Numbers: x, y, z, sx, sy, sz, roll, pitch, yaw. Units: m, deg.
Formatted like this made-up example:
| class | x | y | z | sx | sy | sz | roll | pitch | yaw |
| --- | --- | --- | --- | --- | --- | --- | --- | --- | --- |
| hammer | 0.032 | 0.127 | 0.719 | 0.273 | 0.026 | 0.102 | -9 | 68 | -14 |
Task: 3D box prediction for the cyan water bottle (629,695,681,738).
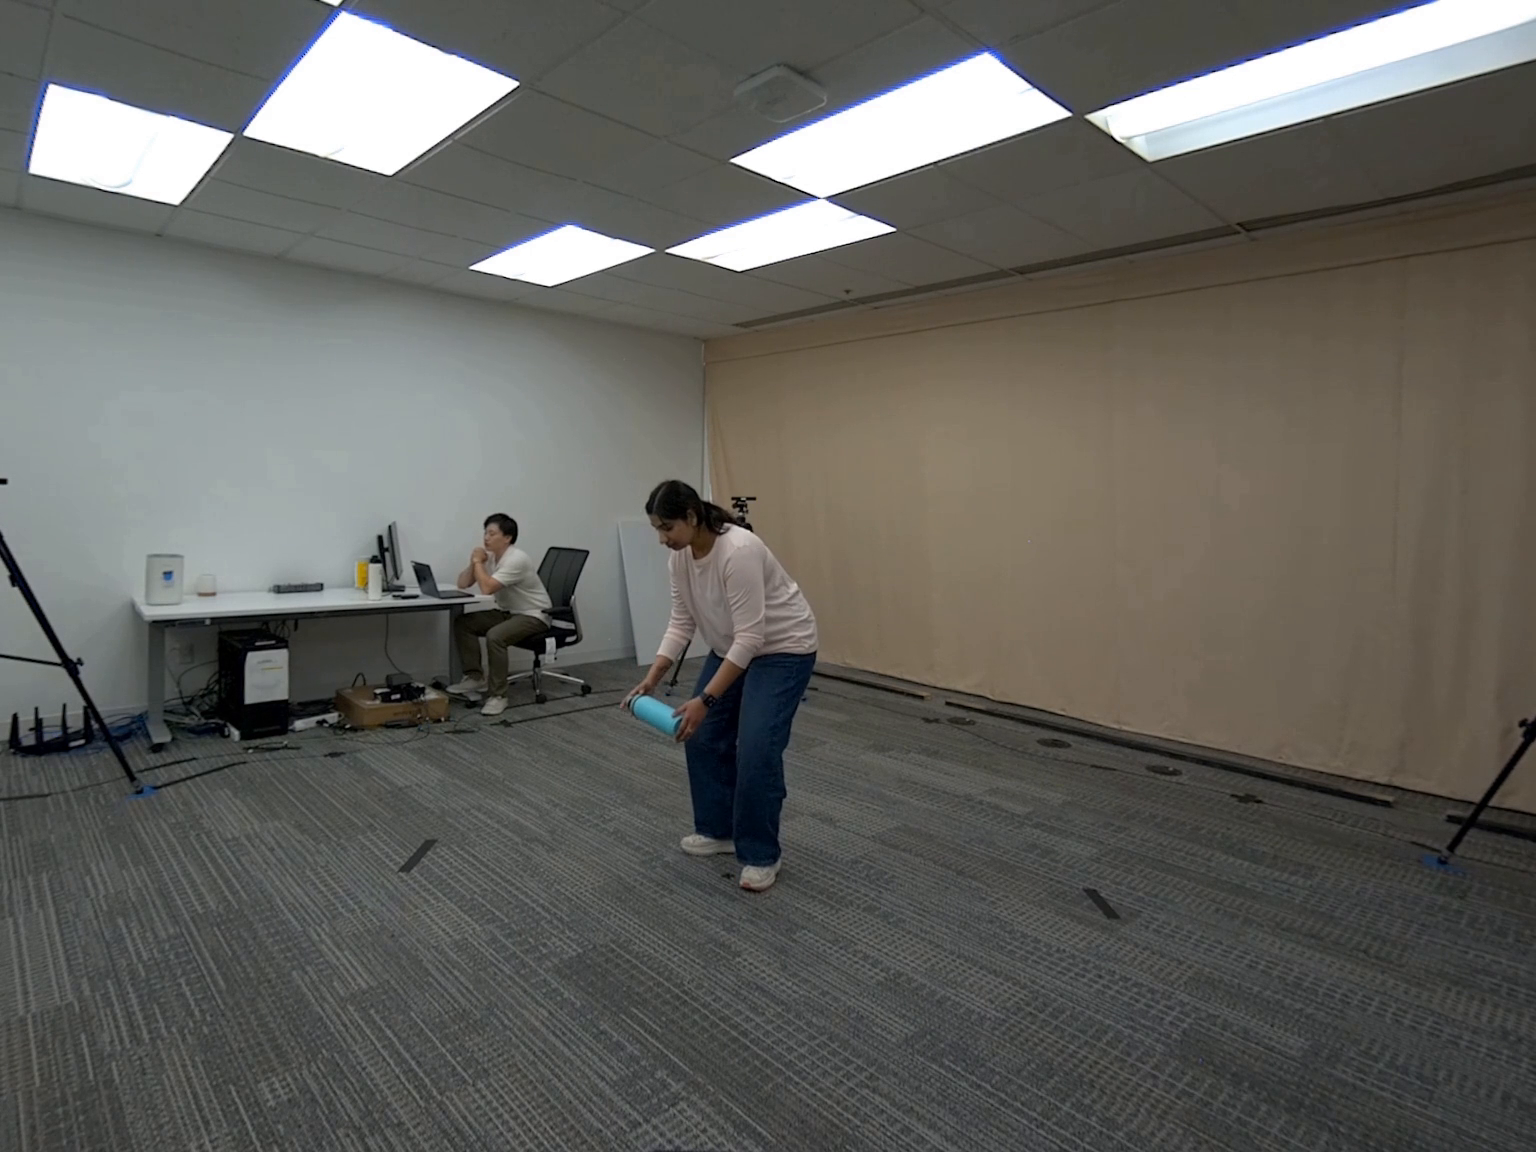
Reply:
| class | x | y | z | sx | sy | sz | roll | pitch | yaw |
| --- | --- | --- | --- | --- | --- | --- | --- | --- | --- |
| cyan water bottle | -0.394 | 0.491 | 2.990 | 0.291 | 0.092 | 0.090 | 16 | 13 | 42 |
